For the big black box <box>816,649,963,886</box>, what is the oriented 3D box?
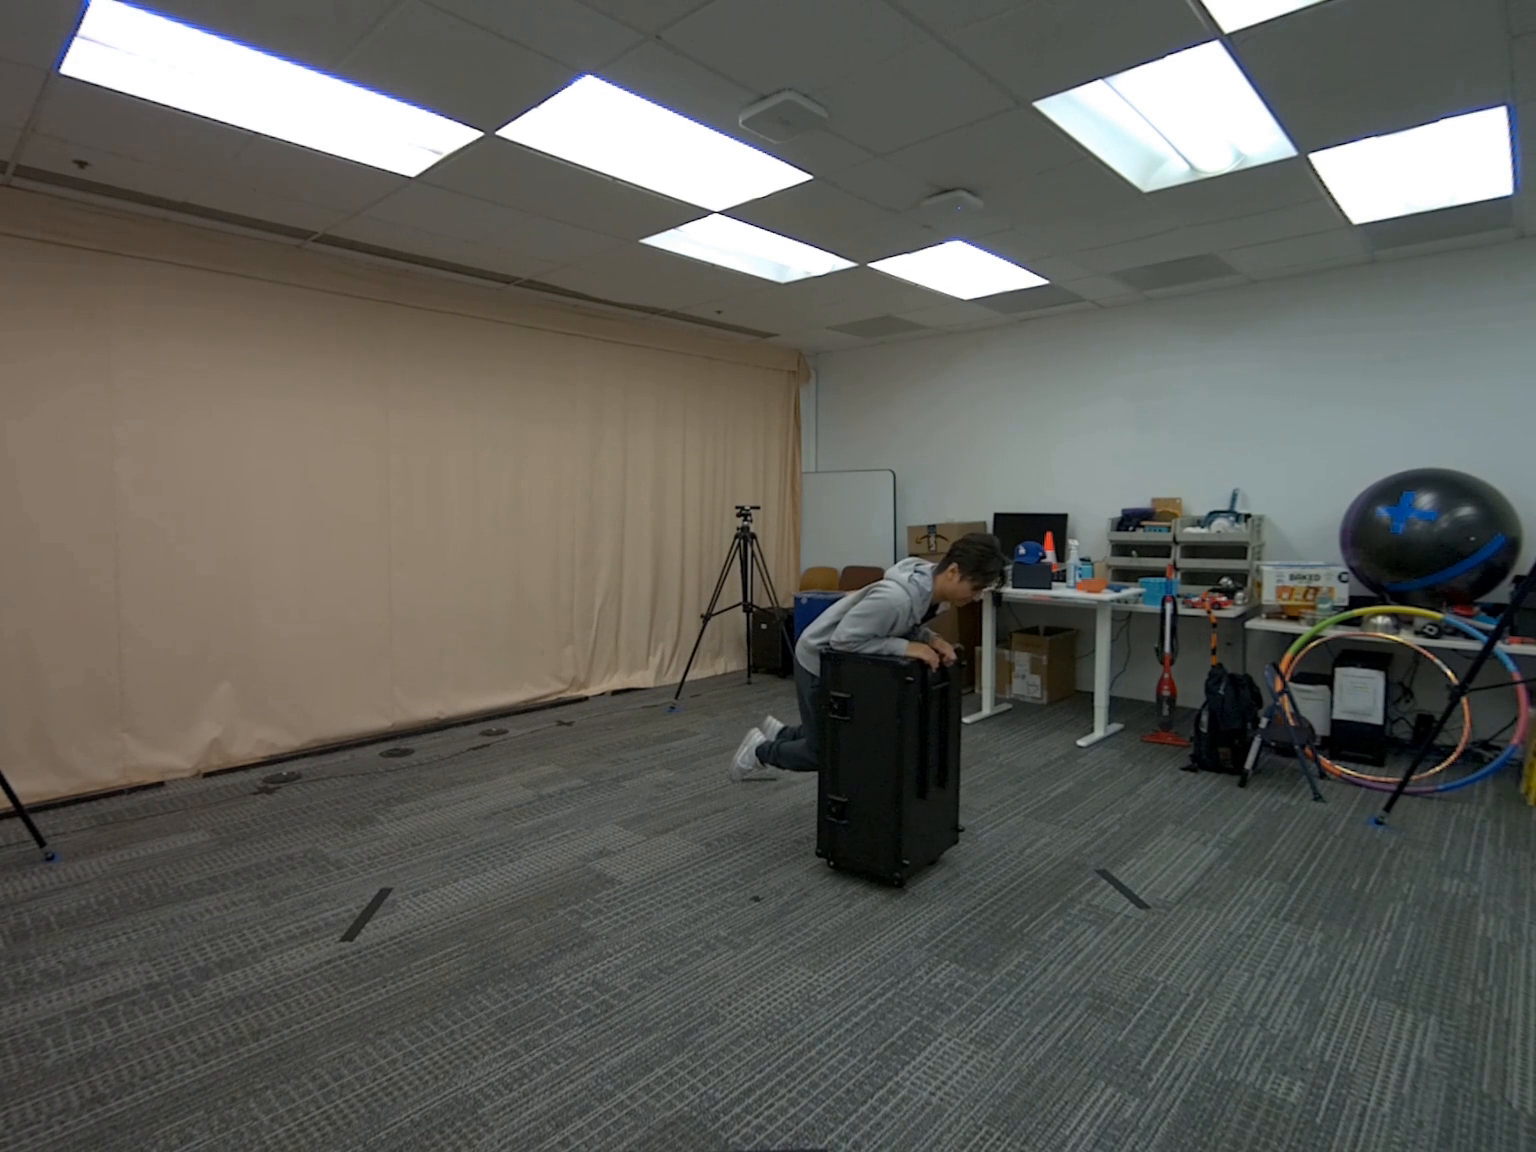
[{"bbox_3d":[0.486,0.704,3.223,0.409,0.859,0.505,4,5,39],"label":"big black box"}]
